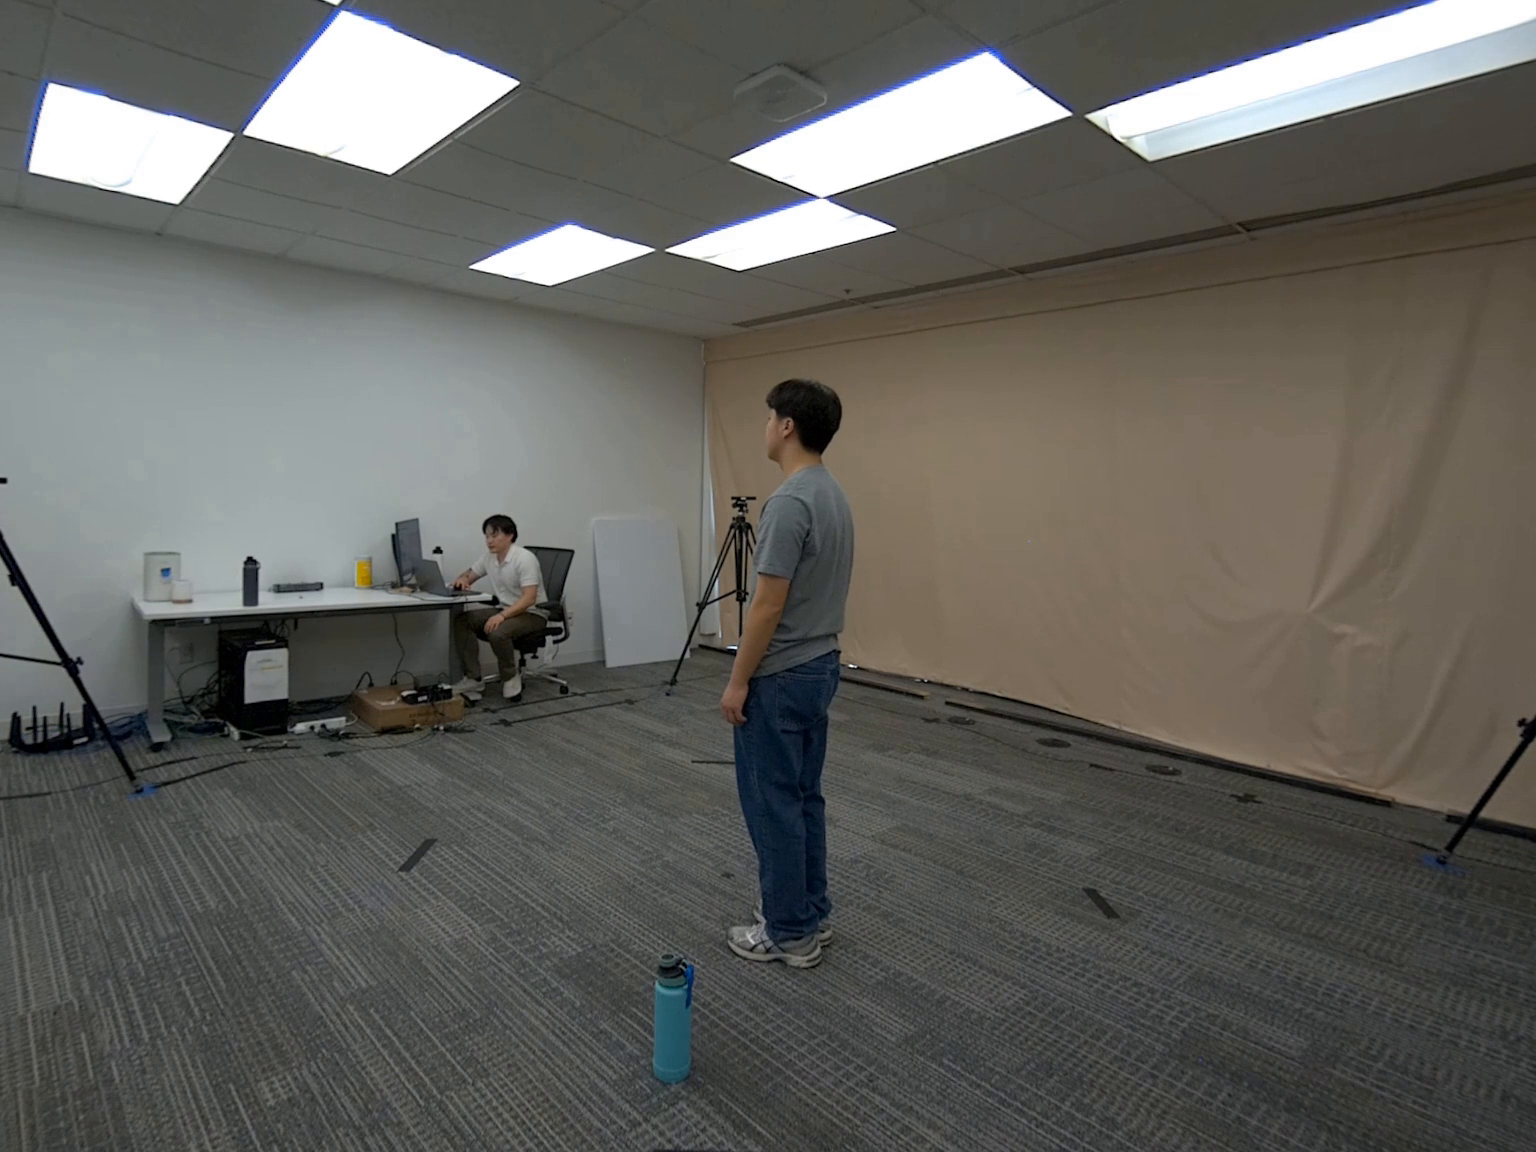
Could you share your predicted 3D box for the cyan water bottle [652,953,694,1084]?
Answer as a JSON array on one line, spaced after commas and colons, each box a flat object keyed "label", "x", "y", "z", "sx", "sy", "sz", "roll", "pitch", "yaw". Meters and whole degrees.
[{"label": "cyan water bottle", "x": -0.233, "y": 1.064, "z": 2.030, "sx": 0.092, "sy": 0.283, "sz": 0.092, "roll": 4, "pitch": 2, "yaw": -2}]
